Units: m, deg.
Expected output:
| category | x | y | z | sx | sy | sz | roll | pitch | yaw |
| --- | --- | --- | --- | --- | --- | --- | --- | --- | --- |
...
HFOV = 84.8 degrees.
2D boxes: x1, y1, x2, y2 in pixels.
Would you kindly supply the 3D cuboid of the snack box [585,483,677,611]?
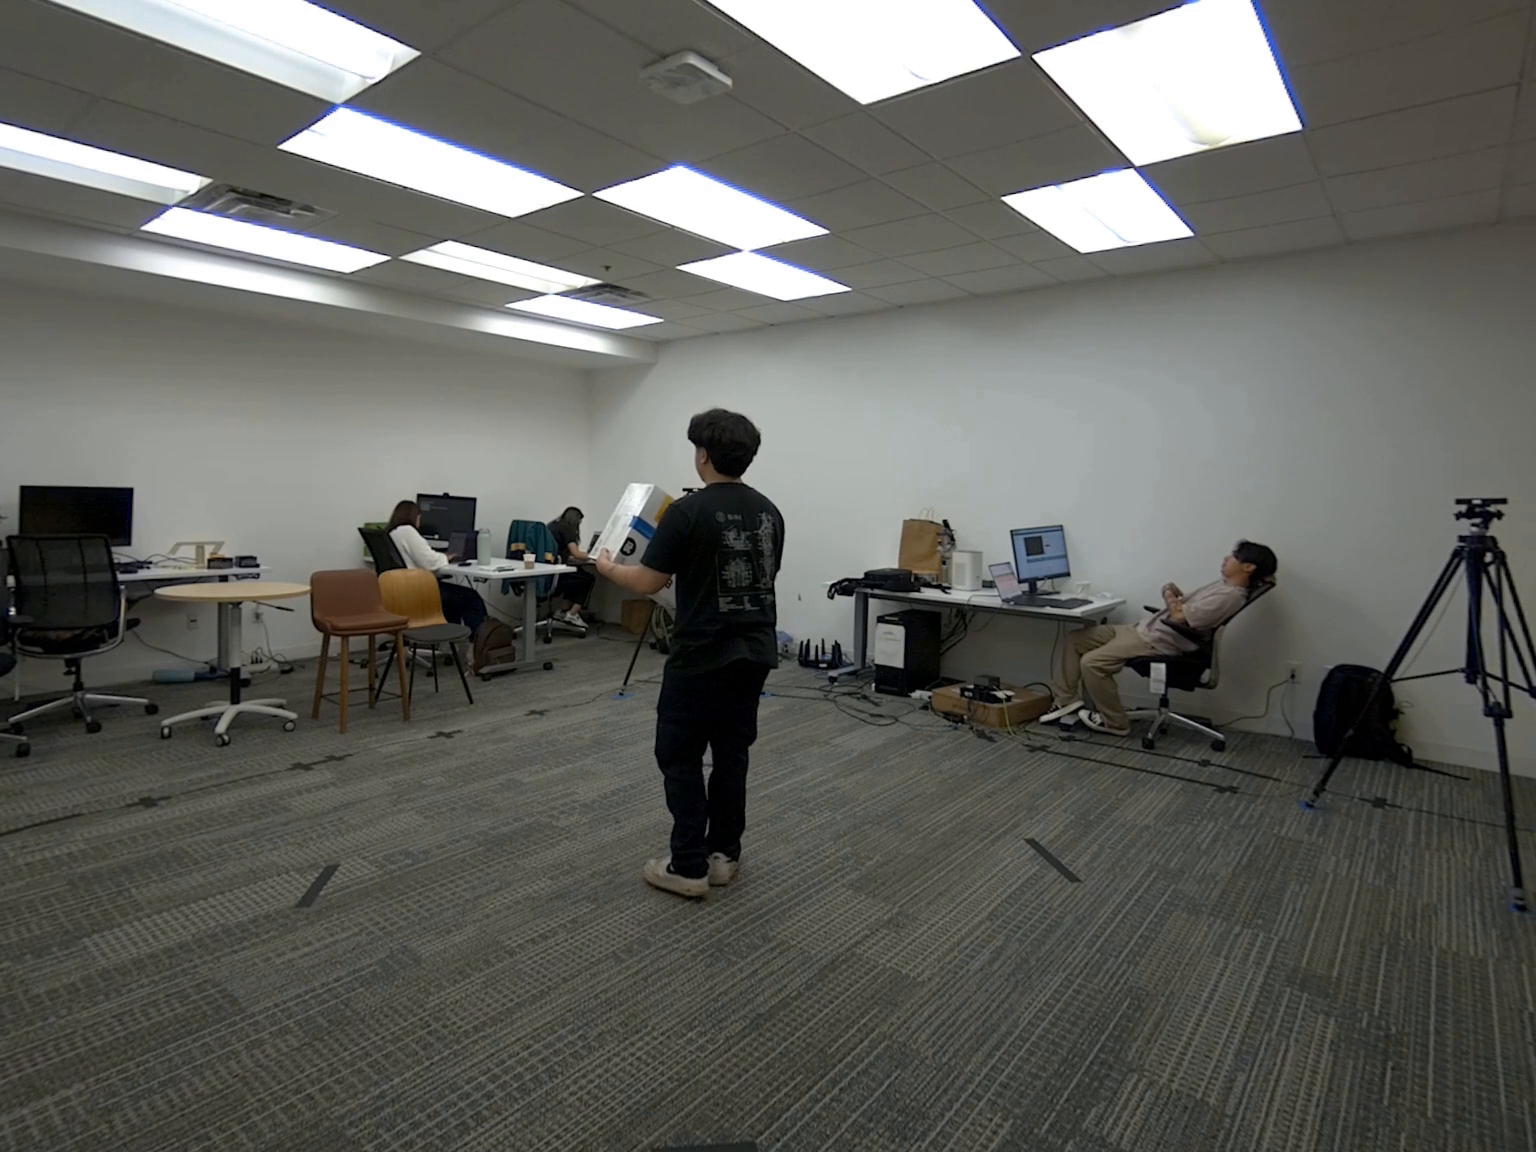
| category | x | y | z | sx | sy | sz | roll | pitch | yaw |
| --- | --- | --- | --- | --- | --- | --- | --- | --- | --- |
| snack box | -0.437 | -0.112 | 3.319 | 0.390 | 0.342 | 0.212 | 36 | -17 | -33 |
